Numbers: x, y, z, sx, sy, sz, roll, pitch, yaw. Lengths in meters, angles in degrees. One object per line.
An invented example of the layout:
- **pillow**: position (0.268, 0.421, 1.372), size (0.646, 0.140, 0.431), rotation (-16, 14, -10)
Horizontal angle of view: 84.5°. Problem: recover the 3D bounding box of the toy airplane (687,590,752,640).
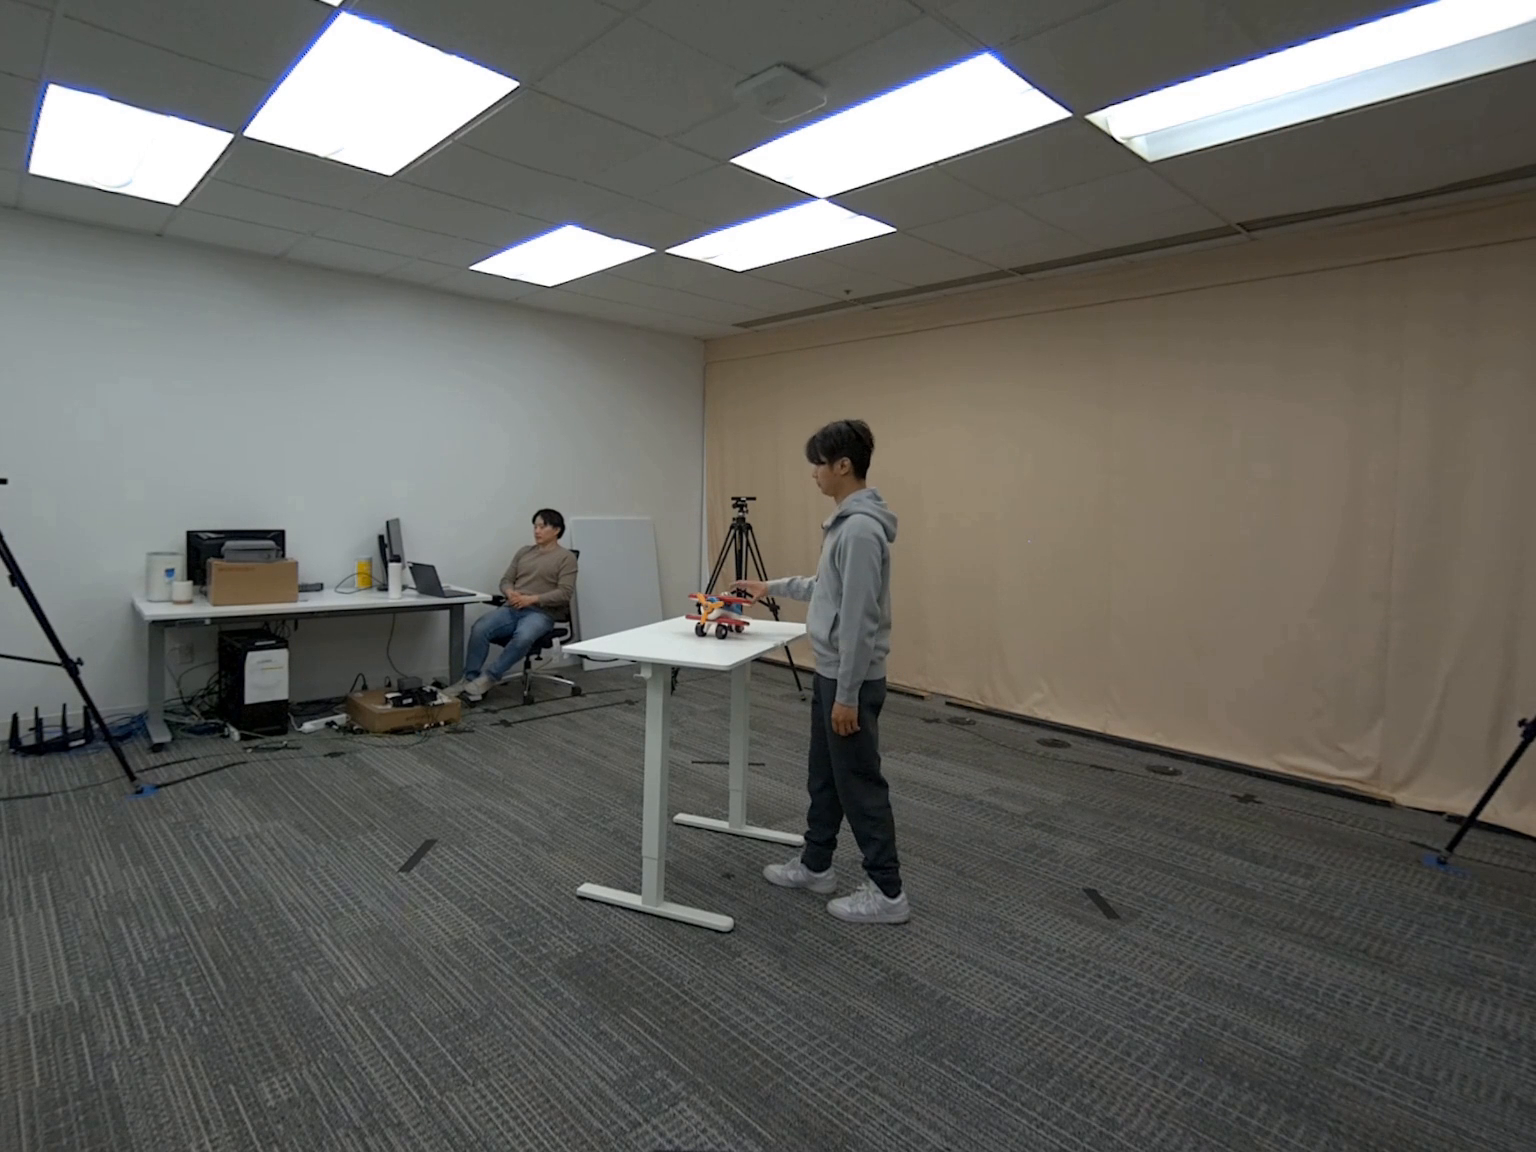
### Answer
- **toy airplane**: position (-0.189, 0.144, 3.142), size (0.251, 0.156, 0.260), rotation (2, 5, -1)
